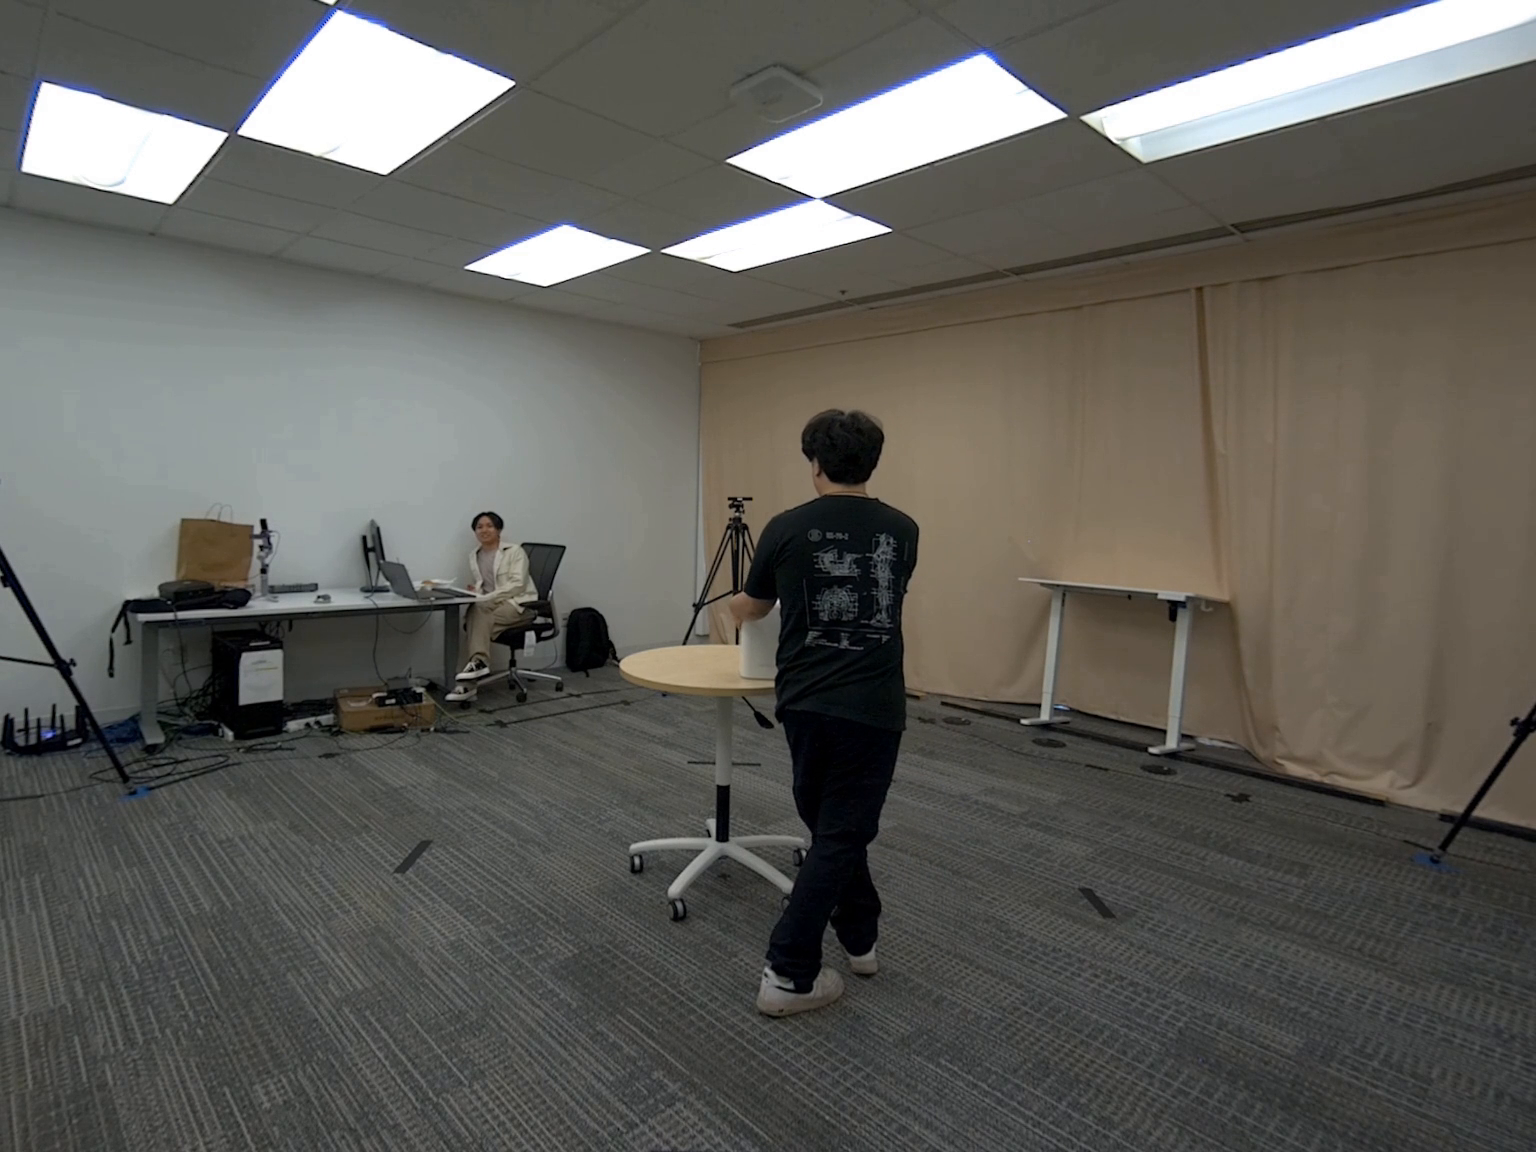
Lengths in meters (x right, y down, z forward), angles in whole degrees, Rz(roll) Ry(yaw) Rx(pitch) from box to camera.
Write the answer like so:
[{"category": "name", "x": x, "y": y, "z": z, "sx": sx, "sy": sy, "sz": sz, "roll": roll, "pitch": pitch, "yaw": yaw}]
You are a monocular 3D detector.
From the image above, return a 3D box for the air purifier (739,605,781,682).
[{"category": "air purifier", "x": -0.016, "y": 0.209, "z": 2.873, "sx": 0.172, "sy": 0.264, "sz": 0.171, "roll": 3, "pitch": 5, "yaw": 6}]
